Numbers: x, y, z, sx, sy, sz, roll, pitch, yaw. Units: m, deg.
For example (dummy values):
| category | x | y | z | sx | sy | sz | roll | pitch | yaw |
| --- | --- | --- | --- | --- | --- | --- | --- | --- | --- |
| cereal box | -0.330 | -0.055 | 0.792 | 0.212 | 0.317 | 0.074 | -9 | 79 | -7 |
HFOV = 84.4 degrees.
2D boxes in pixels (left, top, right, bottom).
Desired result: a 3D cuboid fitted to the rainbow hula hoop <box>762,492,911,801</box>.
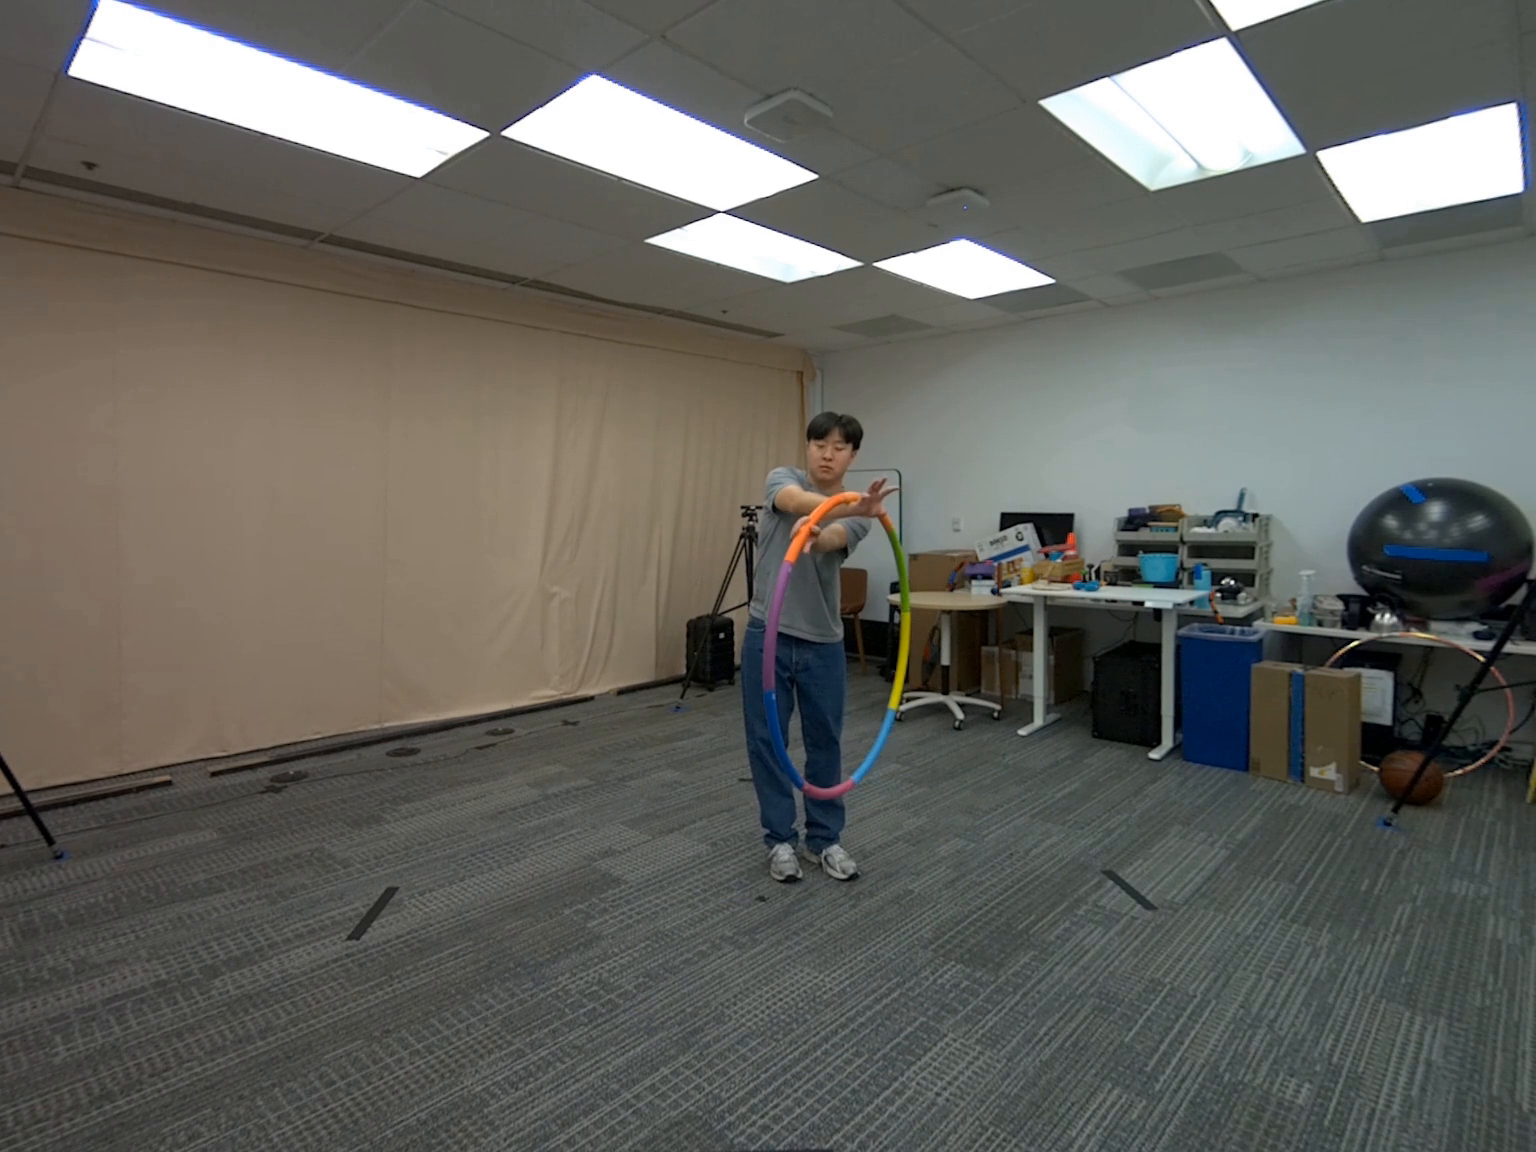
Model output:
| category | x | y | z | sx | sy | sz | roll | pitch | yaw |
| --- | --- | --- | --- | --- | --- | --- | --- | --- | --- |
| rainbow hula hoop | 0.270 | 0.223 | 2.784 | 0.037 | 0.976 | 0.950 | 4 | 5 | 36 |
